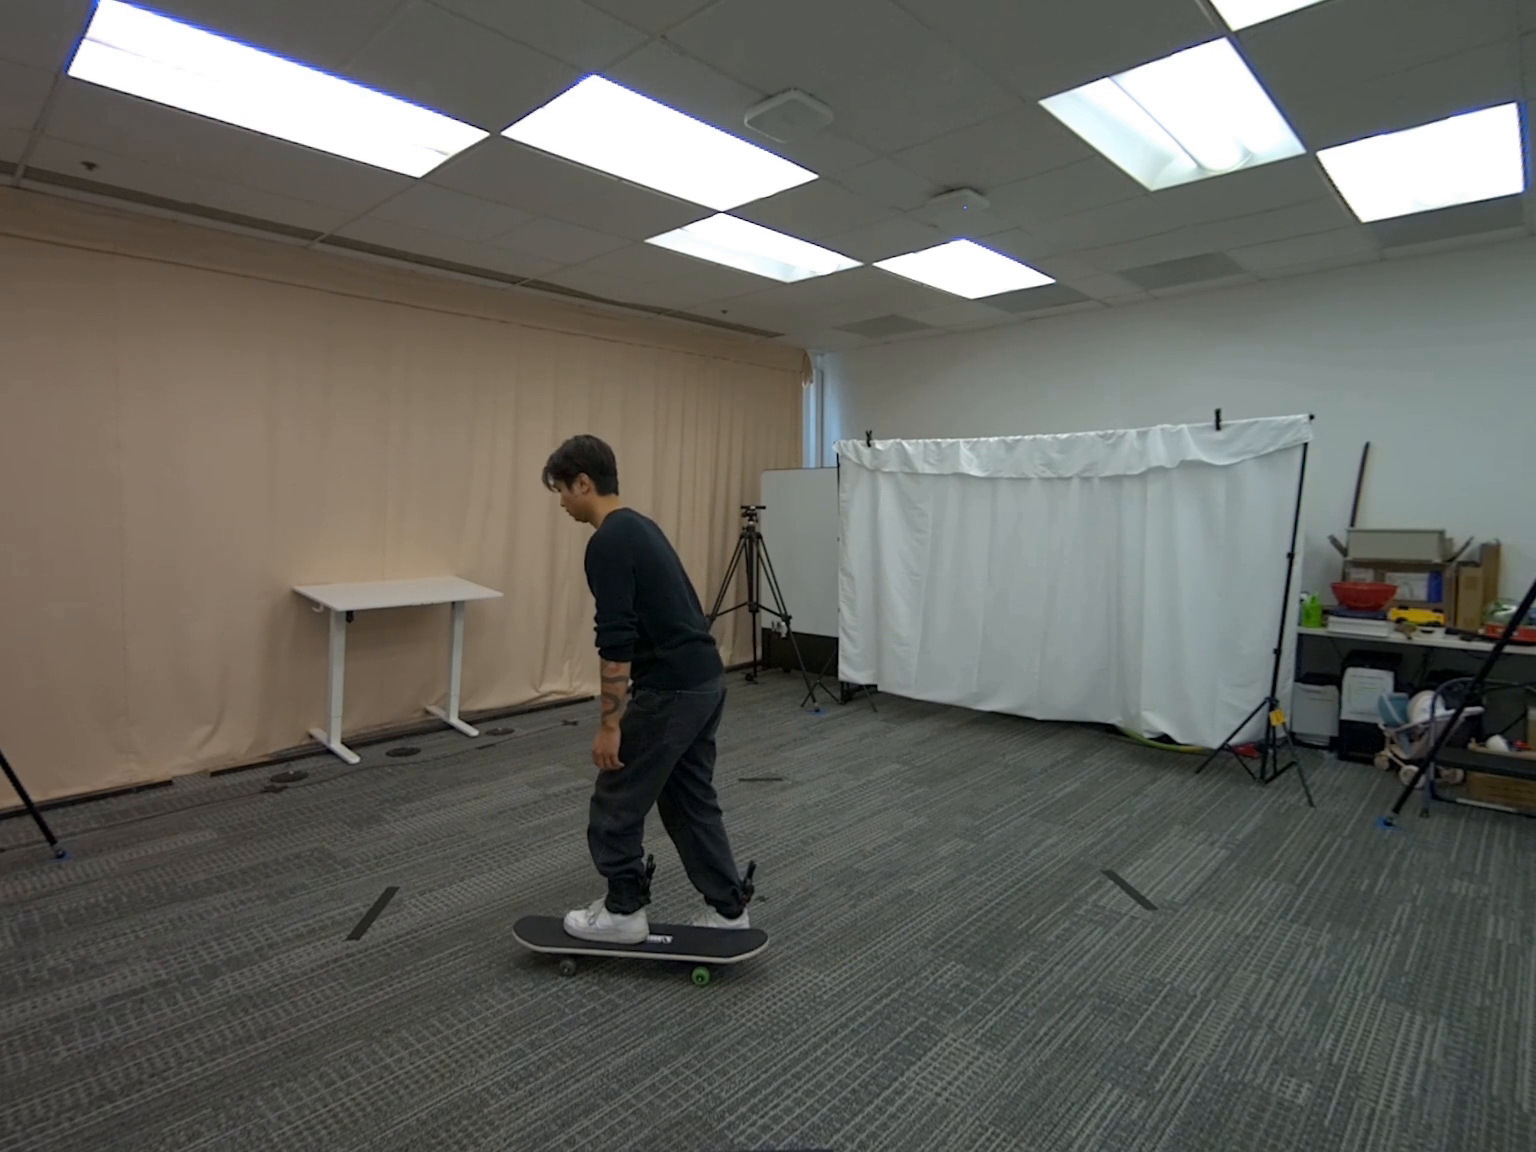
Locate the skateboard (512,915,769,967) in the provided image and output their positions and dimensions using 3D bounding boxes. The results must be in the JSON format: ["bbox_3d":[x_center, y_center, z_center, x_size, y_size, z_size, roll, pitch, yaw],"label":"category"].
[{"bbox_3d":[-0.382,1.129,2.541,0.792,0.110,0.192,-2,3,8],"label":"skateboard"}]
